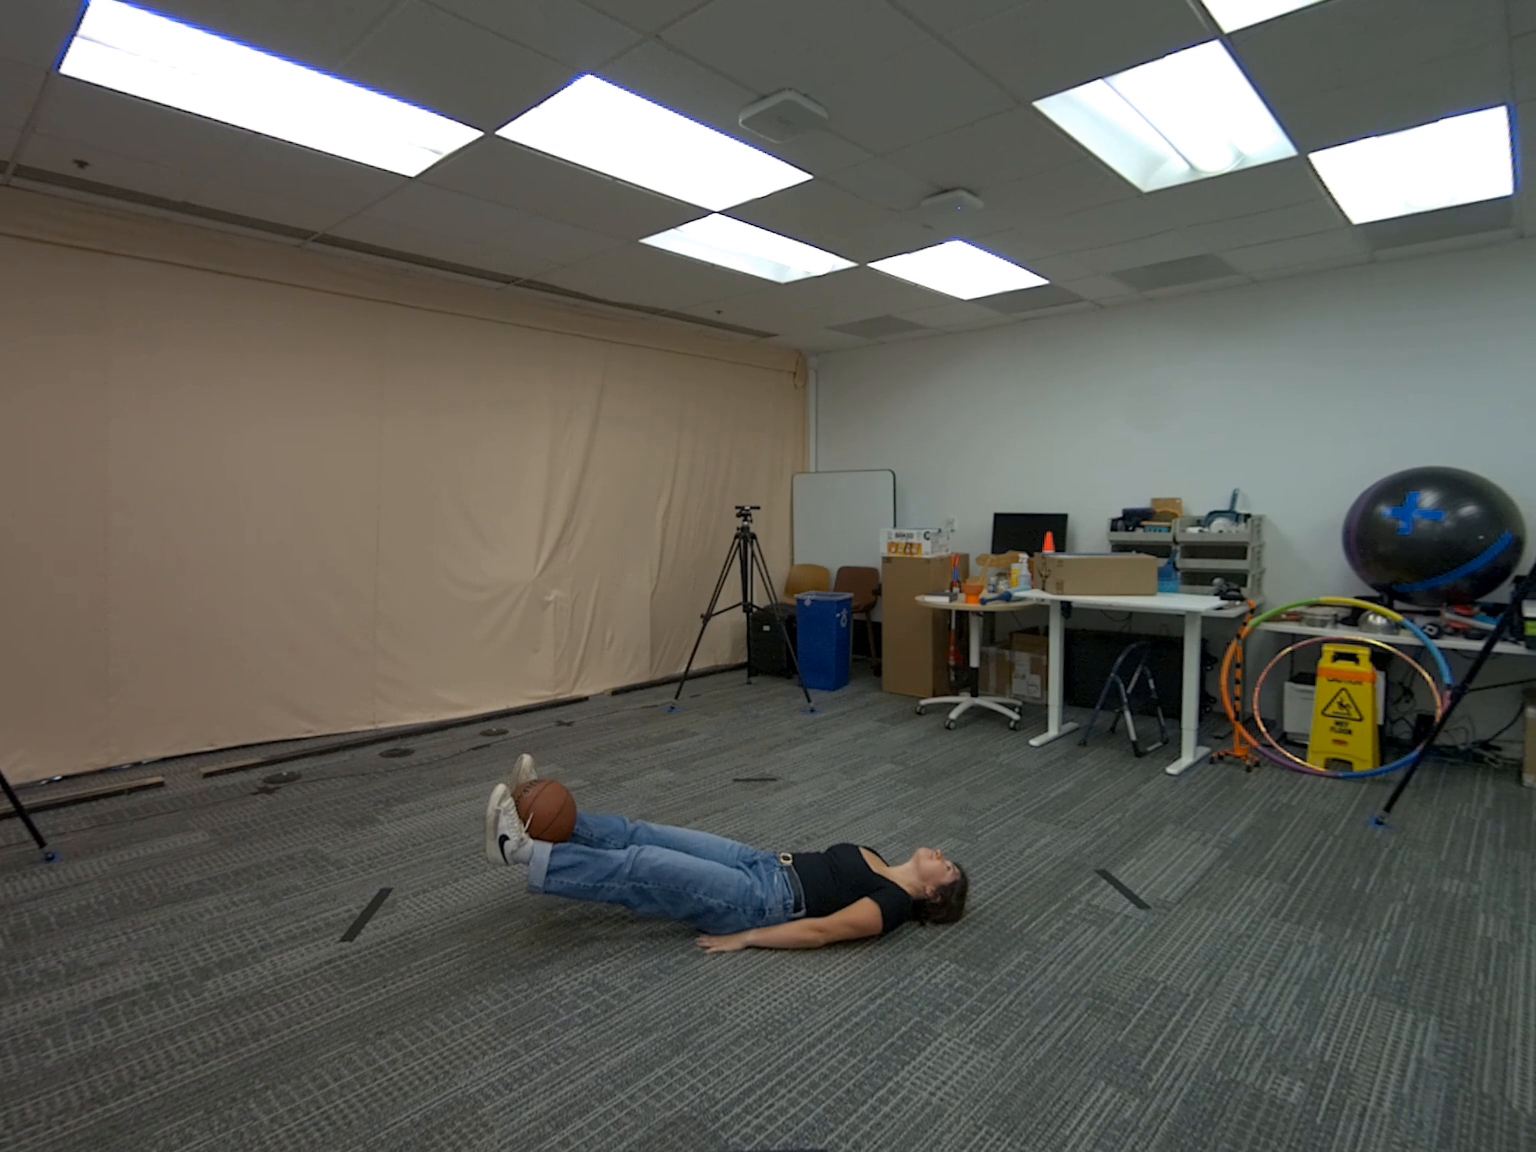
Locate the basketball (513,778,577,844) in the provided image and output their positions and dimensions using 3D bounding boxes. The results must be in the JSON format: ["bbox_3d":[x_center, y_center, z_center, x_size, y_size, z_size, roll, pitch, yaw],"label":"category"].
[{"bbox_3d":[-0.749,0.789,2.780,0.236,0.235,0.237,0,4,-2],"label":"basketball"}]
